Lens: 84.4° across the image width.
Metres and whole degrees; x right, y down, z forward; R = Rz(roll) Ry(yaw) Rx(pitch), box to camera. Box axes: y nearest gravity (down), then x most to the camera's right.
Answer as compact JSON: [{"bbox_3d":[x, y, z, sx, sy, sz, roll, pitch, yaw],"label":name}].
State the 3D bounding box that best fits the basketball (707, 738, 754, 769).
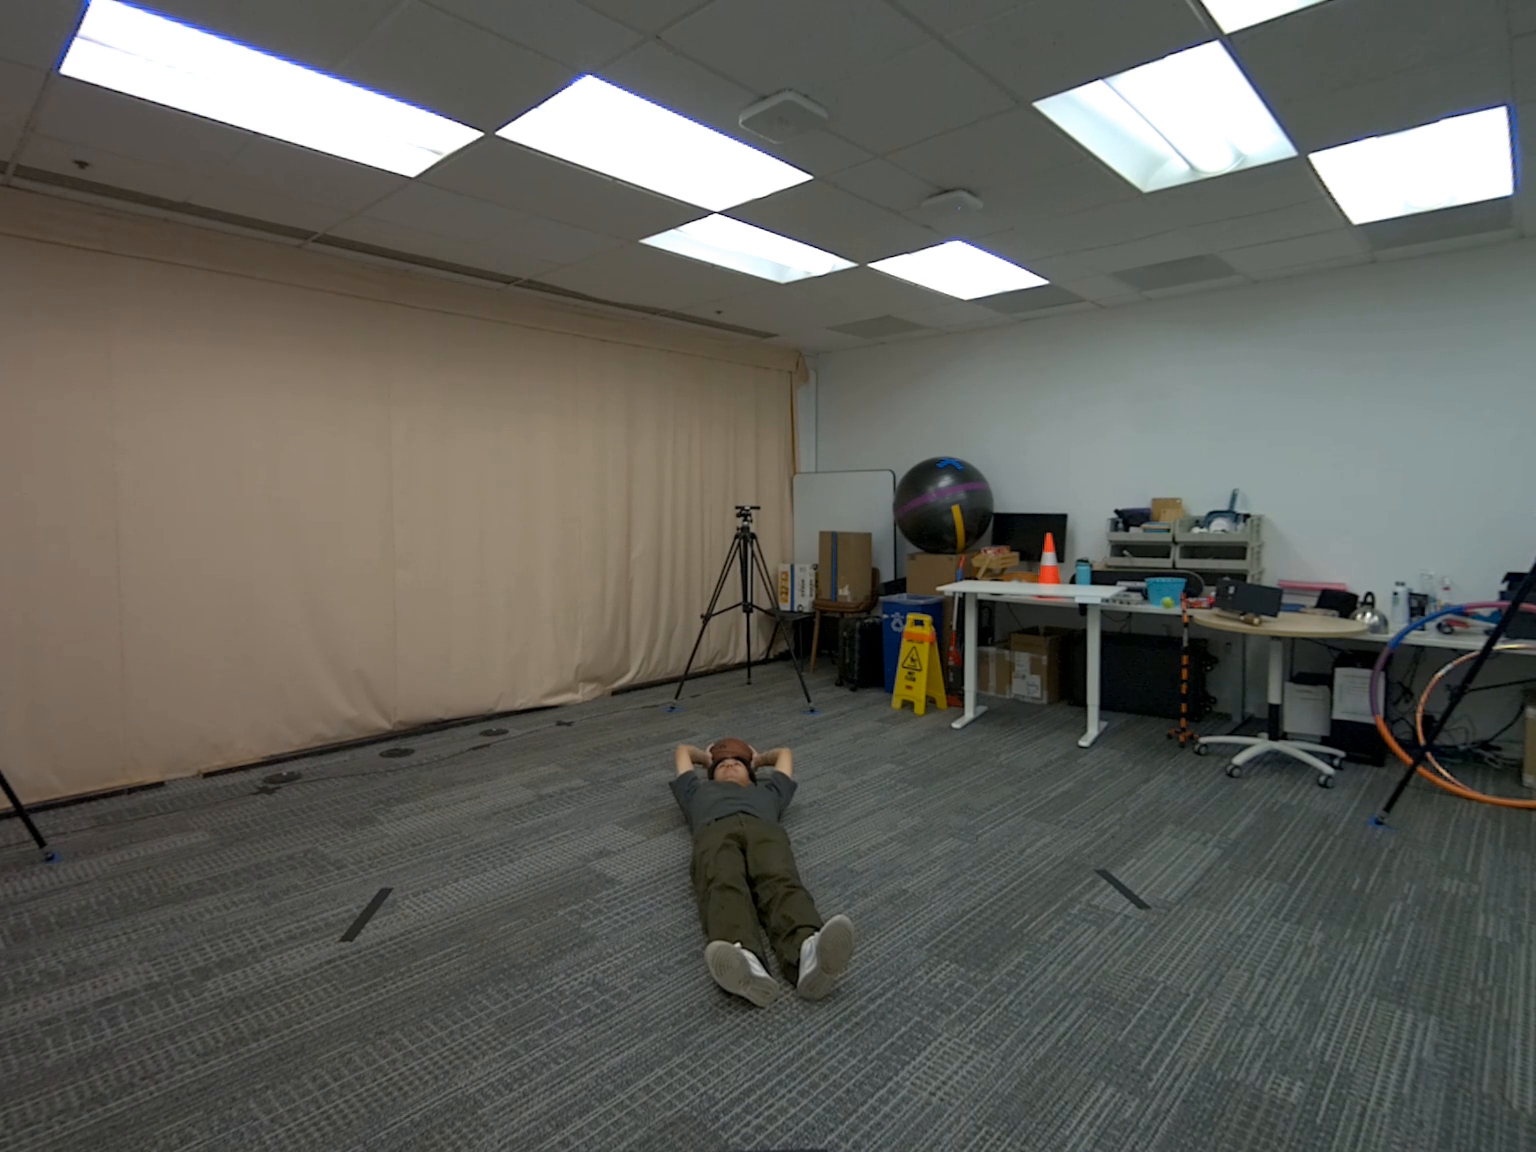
[{"bbox_3d":[-0.188,0.920,4.200,0.236,0.235,0.237,0,4,-2],"label":"basketball"}]
